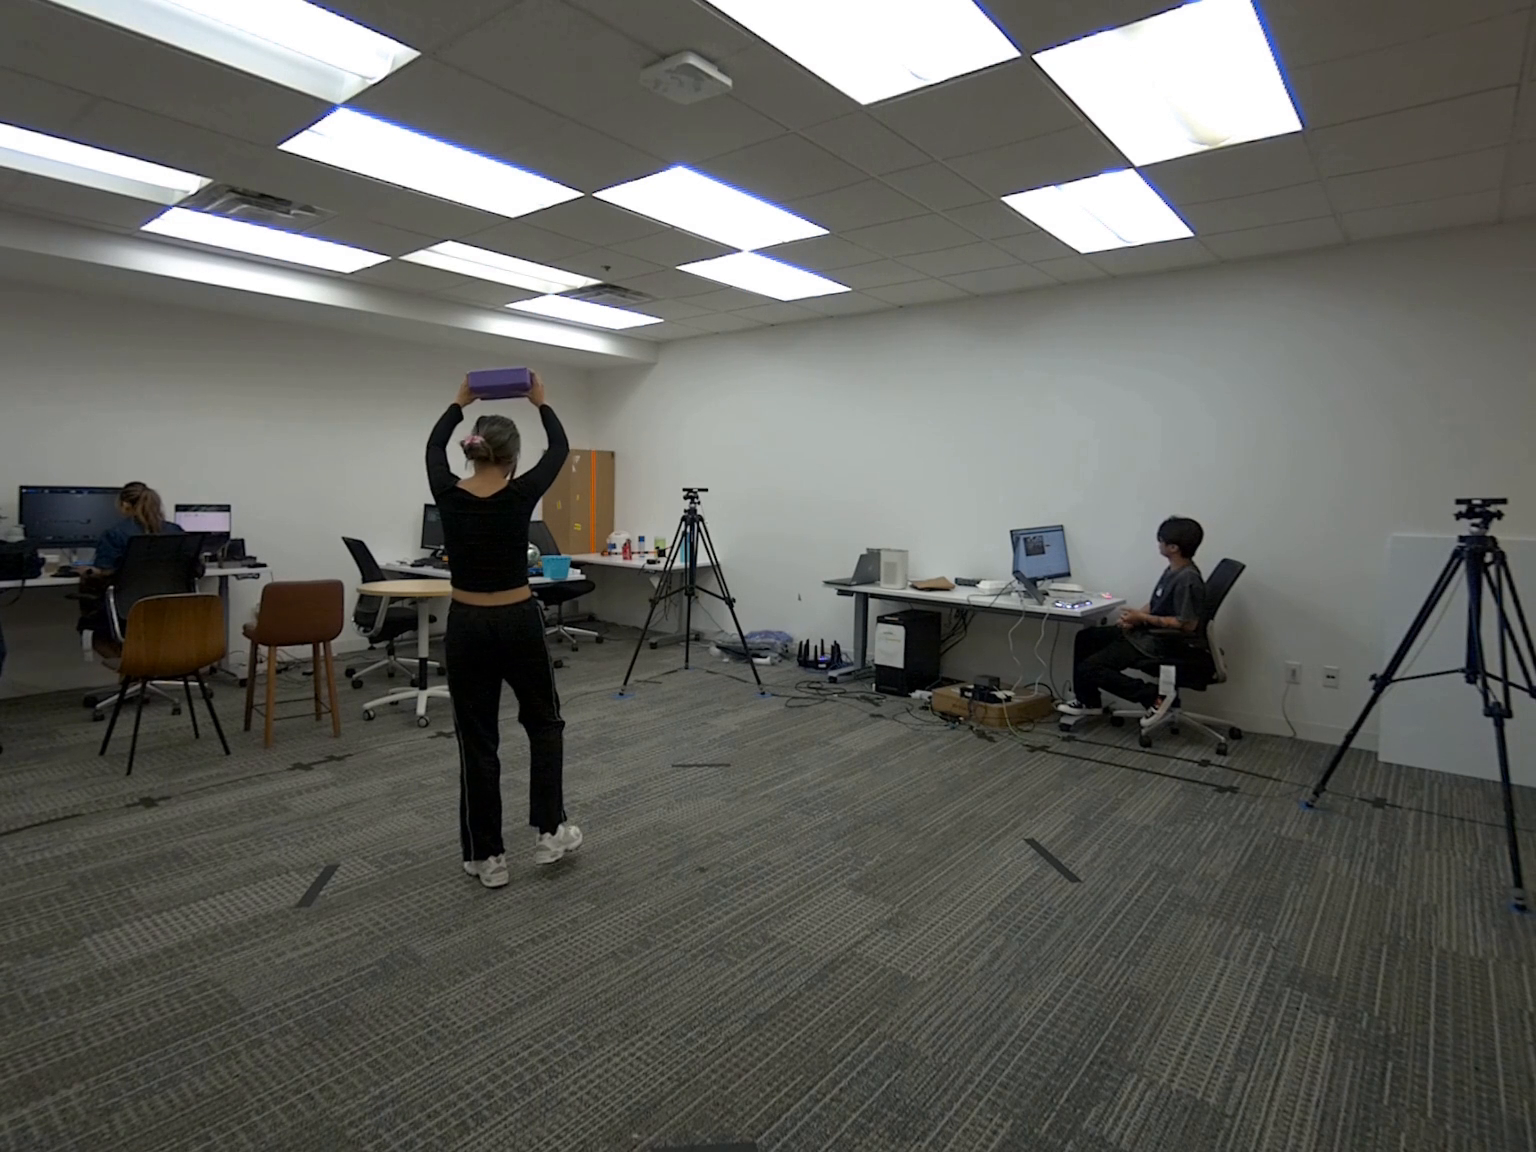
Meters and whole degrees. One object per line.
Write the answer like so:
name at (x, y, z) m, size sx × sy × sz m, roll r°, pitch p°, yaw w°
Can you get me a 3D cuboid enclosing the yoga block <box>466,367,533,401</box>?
yoga block at (-1.058, -0.754, 3.306) m, size 0.230 × 0.077 × 0.147 m, roll -5°, pitch -7°, yaw 2°
